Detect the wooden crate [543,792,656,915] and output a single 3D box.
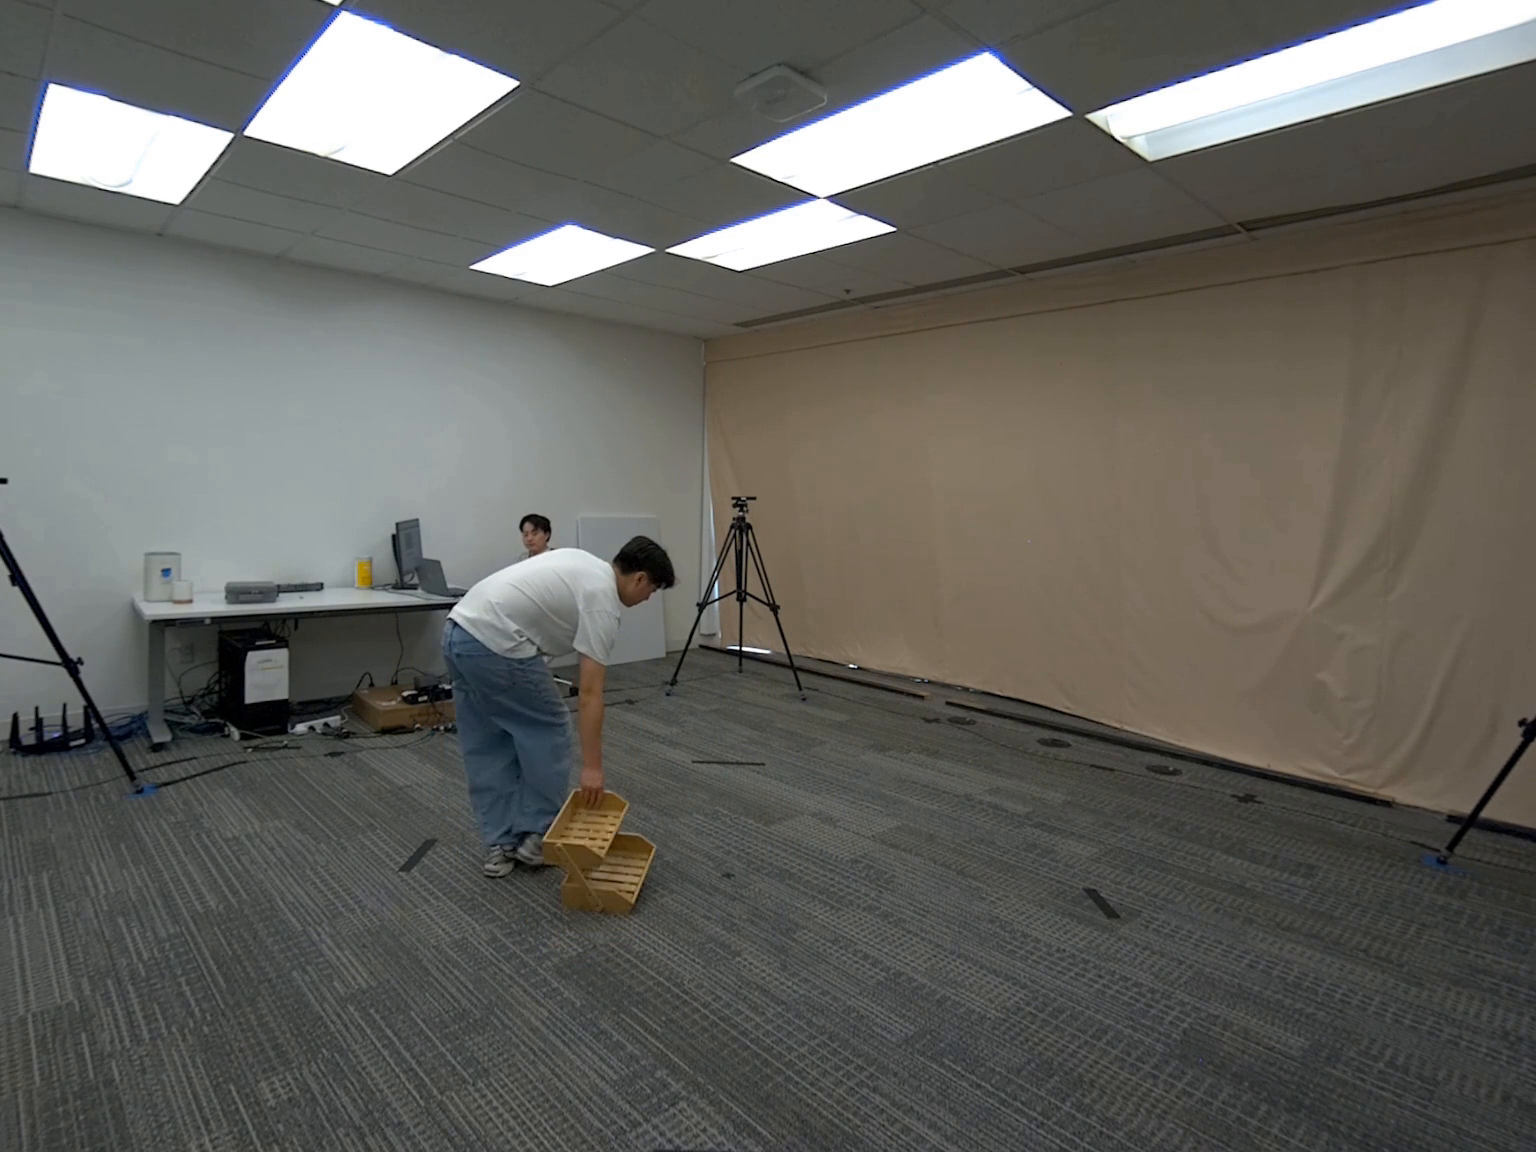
[{"bbox_3d":[-0.574,0.957,2.909,0.305,0.270,0.325,2,17,12],"label":"wooden crate"}]
